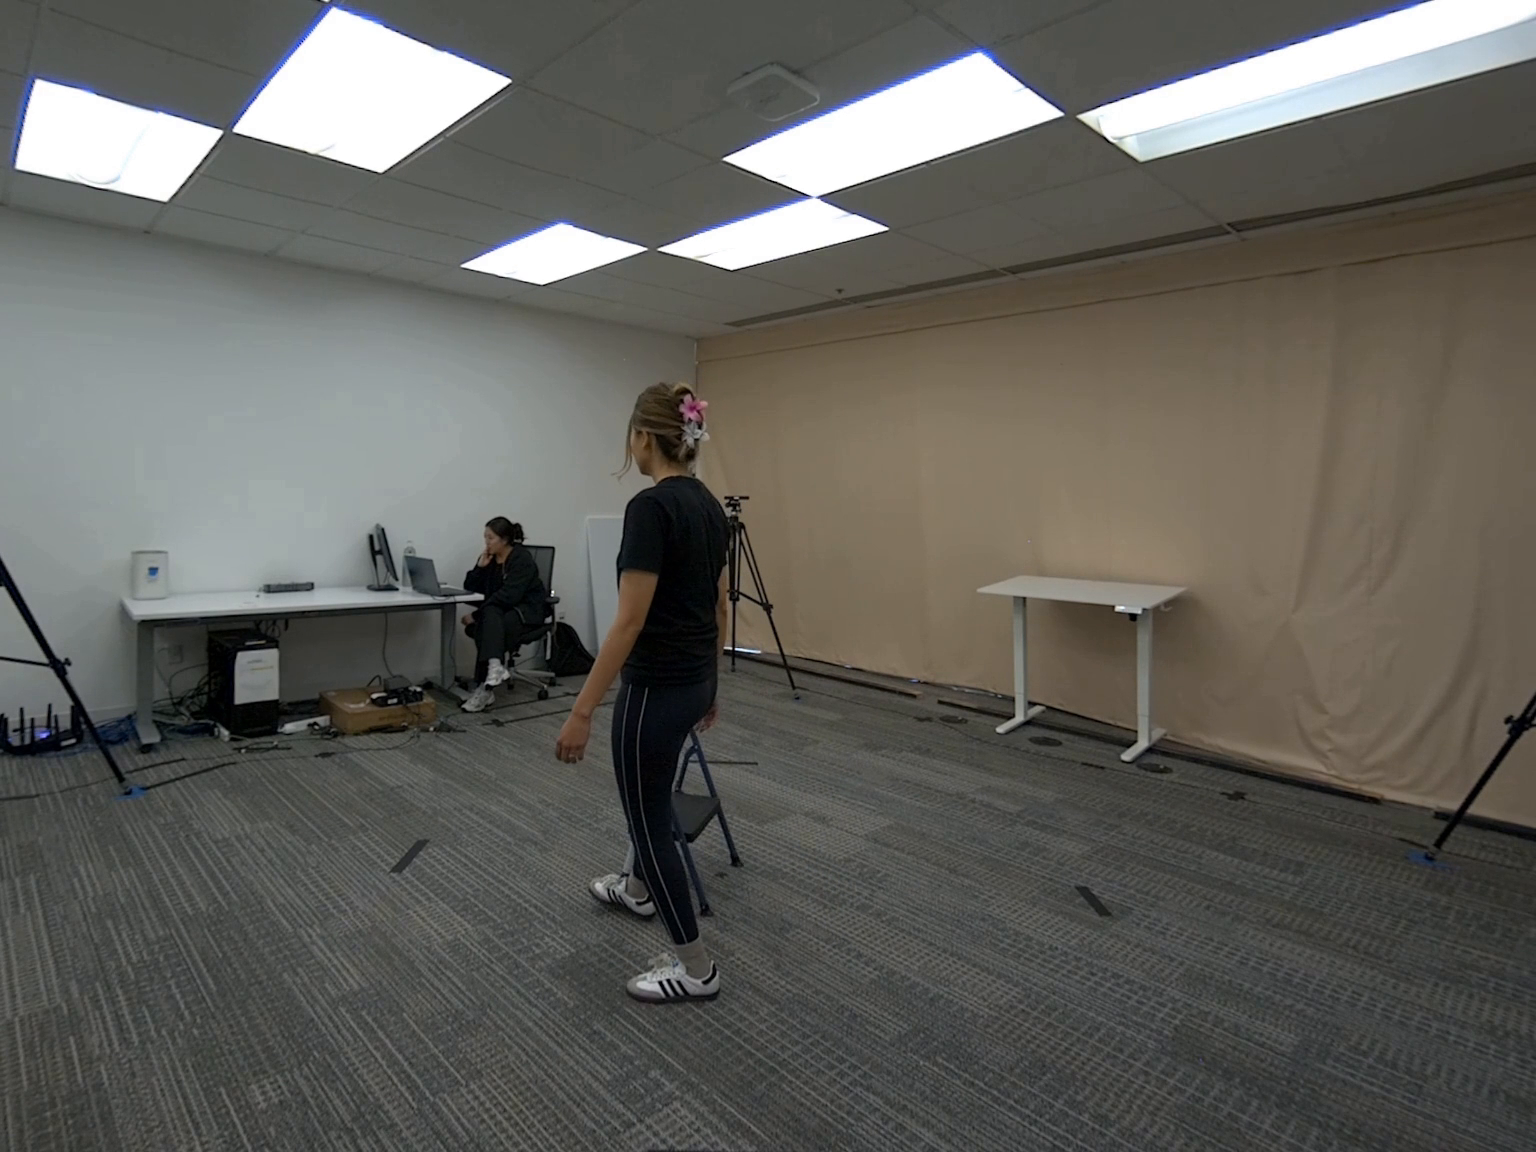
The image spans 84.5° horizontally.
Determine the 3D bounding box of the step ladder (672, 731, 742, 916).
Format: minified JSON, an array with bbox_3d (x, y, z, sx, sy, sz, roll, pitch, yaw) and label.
[{"bbox_3d":[-0.310,0.808,3.021,0.353,0.604,0.427,3,5,13],"label":"step ladder"}]
